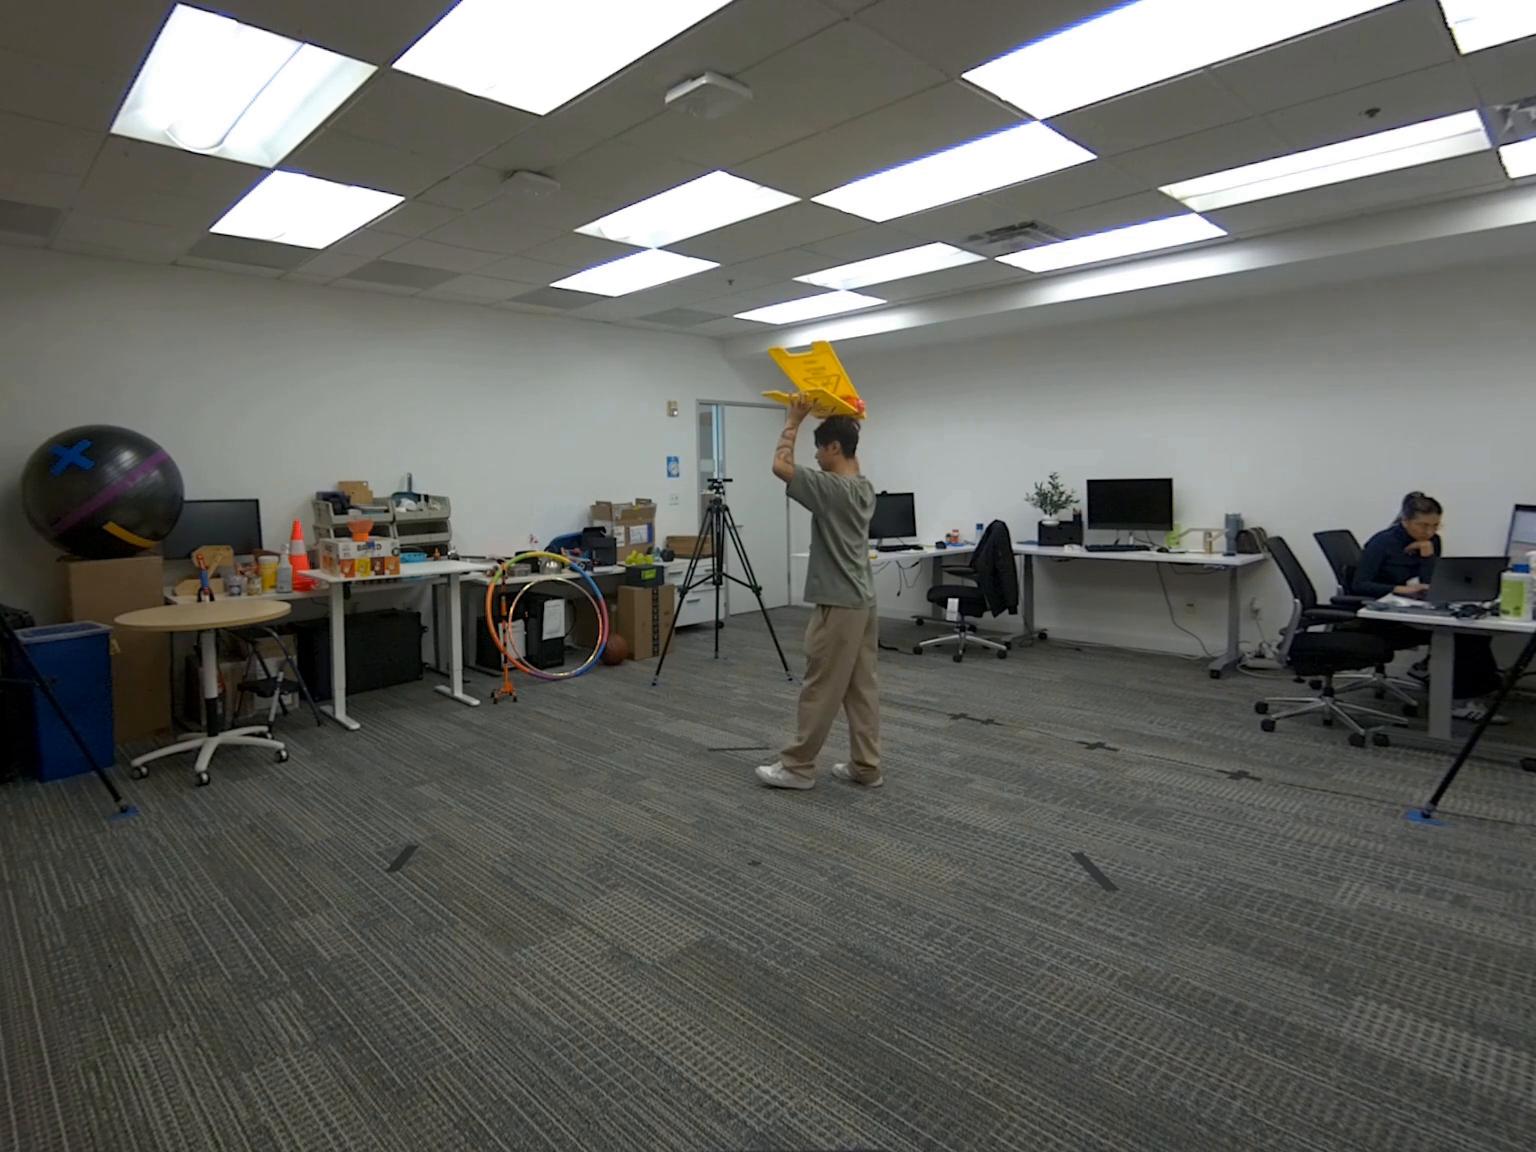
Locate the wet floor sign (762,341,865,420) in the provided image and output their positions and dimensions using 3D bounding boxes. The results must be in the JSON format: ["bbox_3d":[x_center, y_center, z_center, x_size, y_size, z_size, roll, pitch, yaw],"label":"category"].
[{"bbox_3d":[0.248,-0.815,3.860,0.289,0.292,0.625,1,-9,28],"label":"wet floor sign"}]
